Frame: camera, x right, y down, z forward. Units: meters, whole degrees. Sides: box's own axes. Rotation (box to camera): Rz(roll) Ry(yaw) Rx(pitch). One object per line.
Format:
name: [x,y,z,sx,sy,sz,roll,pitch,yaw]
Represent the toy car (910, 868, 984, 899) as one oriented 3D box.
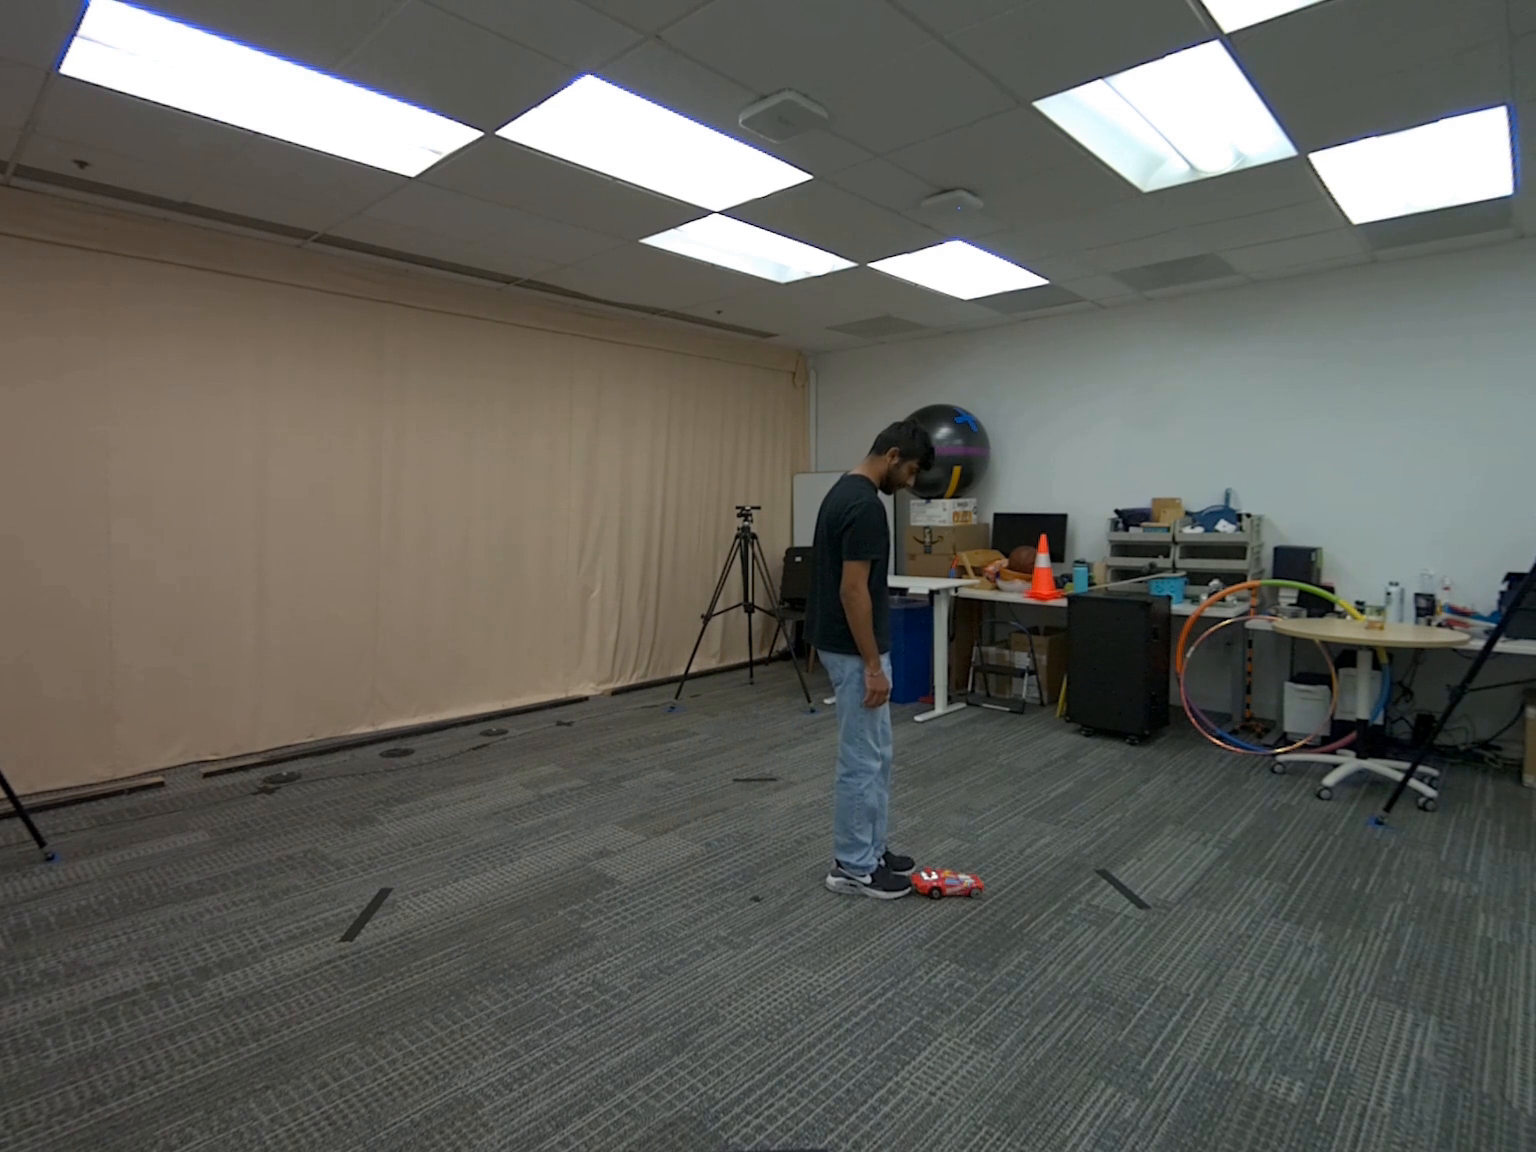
toy car: [0.641,1.108,3.013,0.254,0.083,0.131,11,2,-2]
